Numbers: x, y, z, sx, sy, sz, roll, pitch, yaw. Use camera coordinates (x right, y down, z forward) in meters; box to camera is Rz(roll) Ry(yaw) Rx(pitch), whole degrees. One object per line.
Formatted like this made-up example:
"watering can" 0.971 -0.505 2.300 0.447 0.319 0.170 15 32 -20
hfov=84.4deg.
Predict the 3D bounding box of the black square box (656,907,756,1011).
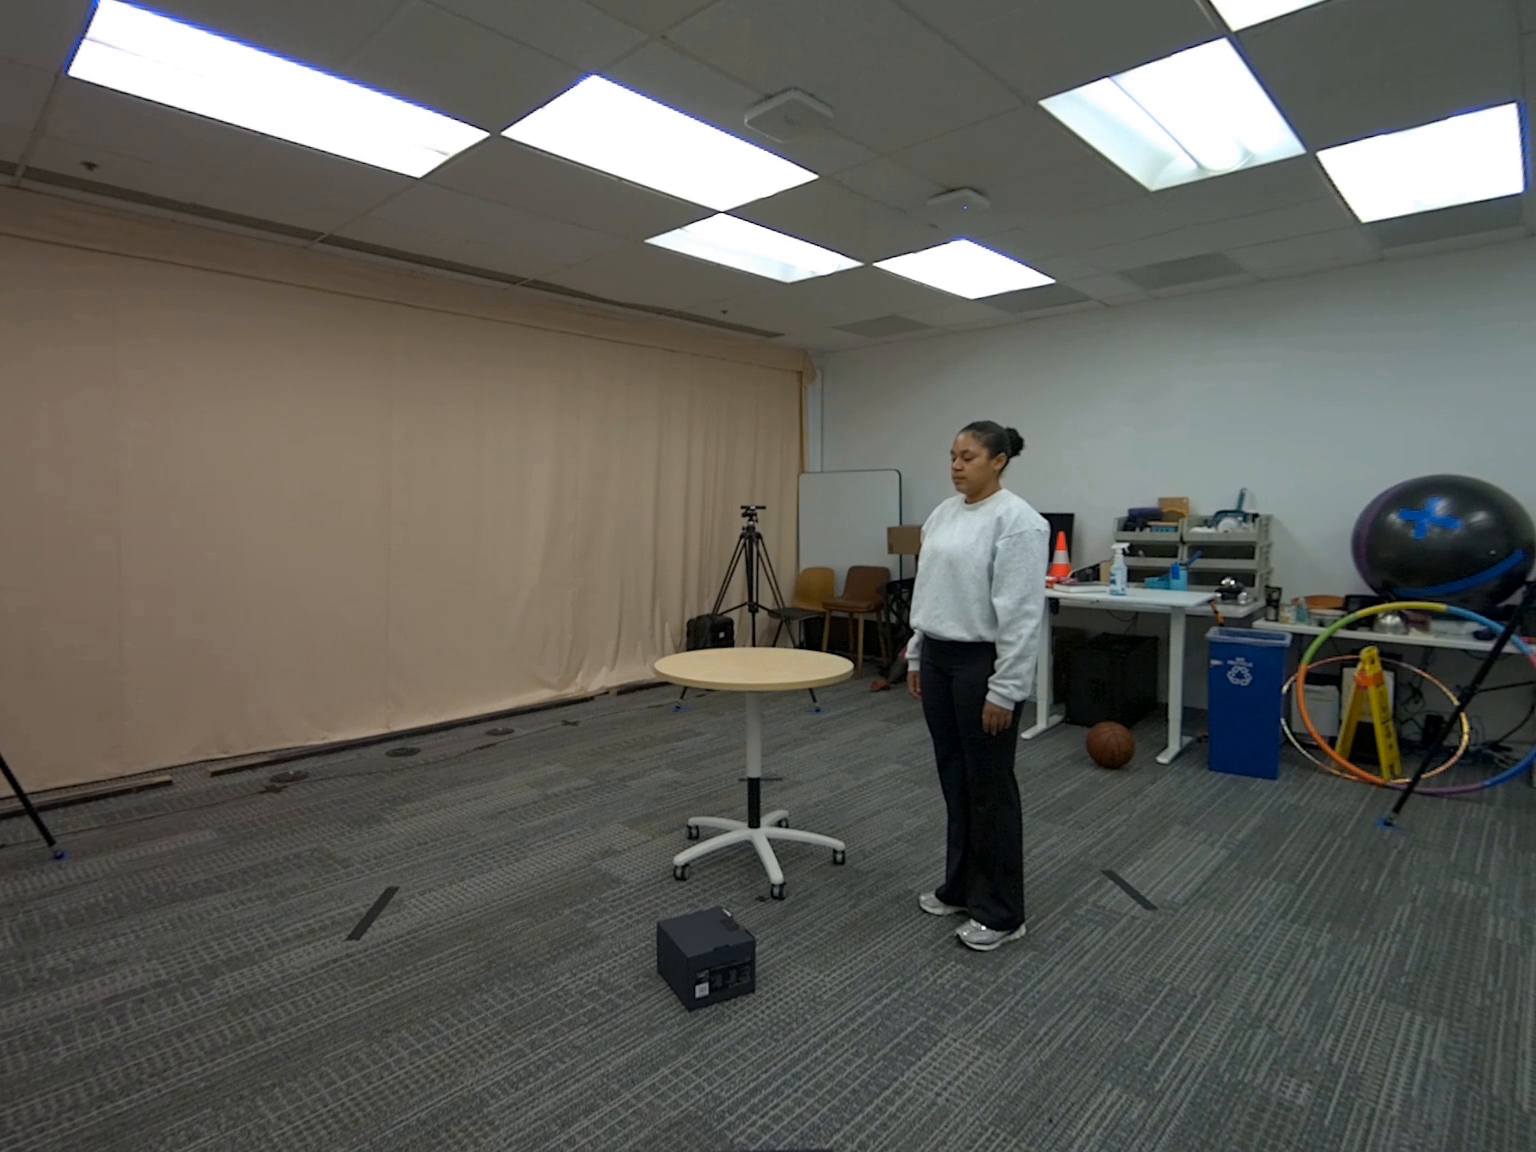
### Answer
"black square box" -0.182 1.106 2.456 0.211 0.155 0.234 -2 5 -28
